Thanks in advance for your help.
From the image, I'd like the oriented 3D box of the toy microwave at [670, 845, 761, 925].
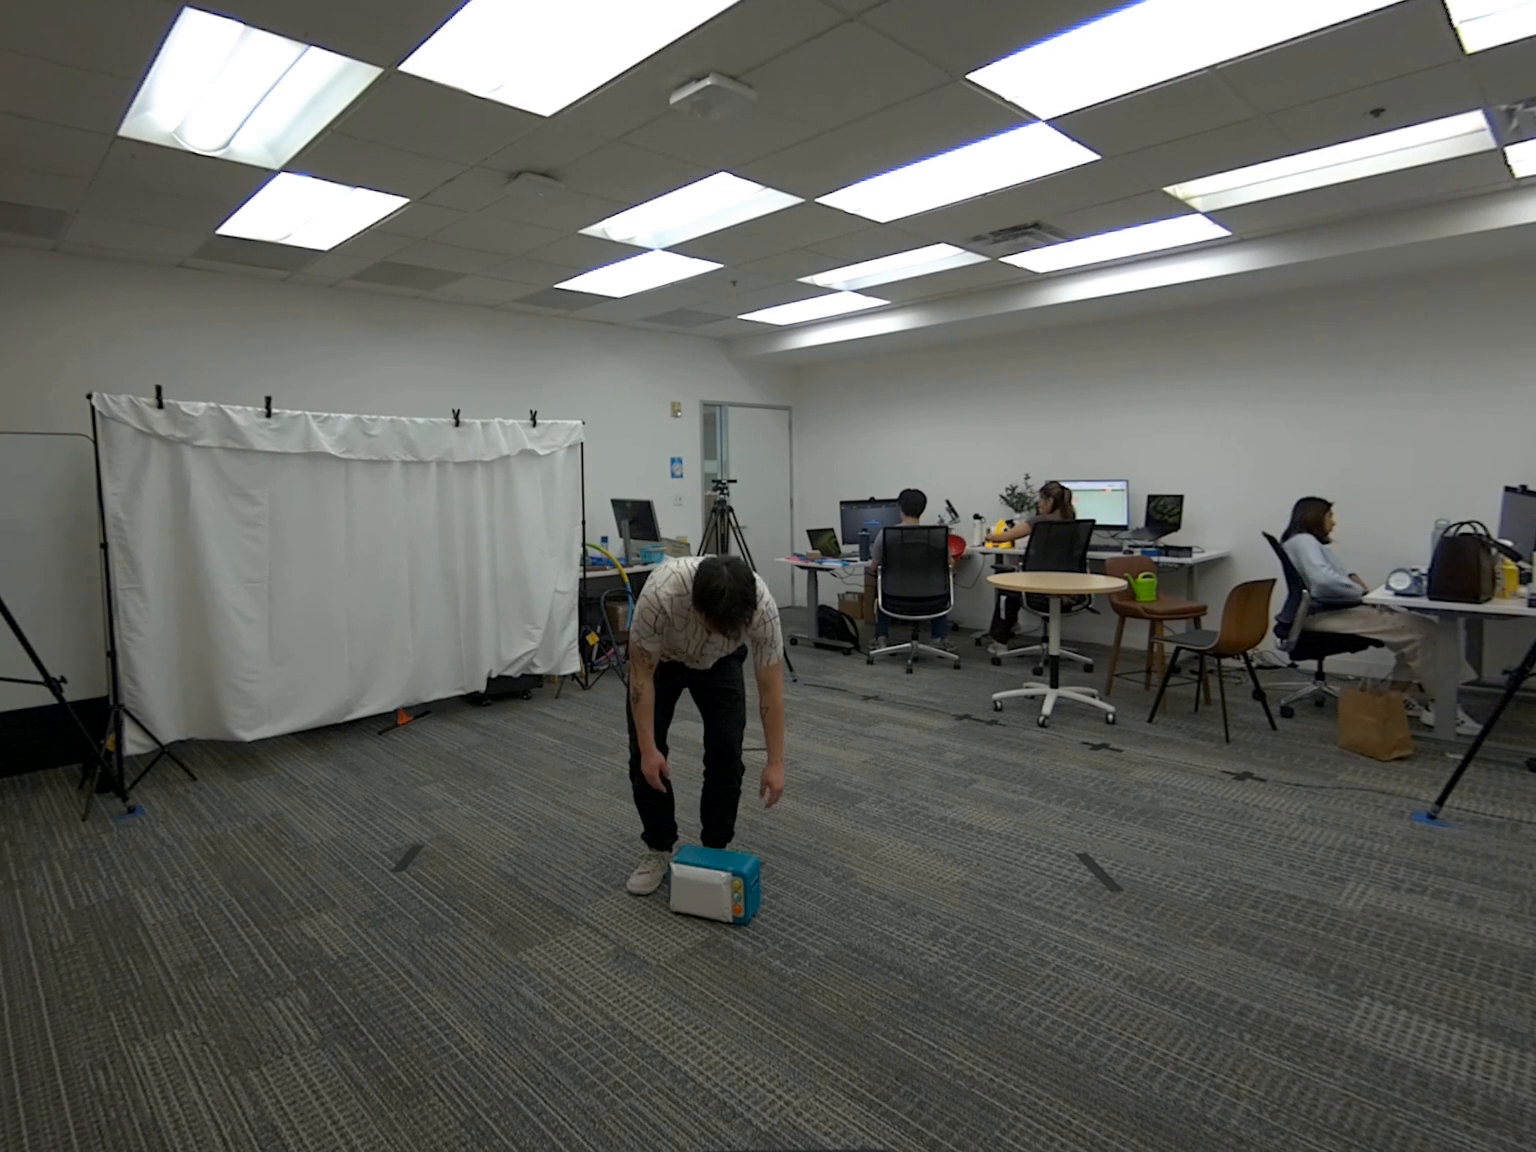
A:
[{"bbox_3d":[-0.175,0.995,2.765,0.292,0.183,0.150,2,6,23],"label":"toy microwave"}]
